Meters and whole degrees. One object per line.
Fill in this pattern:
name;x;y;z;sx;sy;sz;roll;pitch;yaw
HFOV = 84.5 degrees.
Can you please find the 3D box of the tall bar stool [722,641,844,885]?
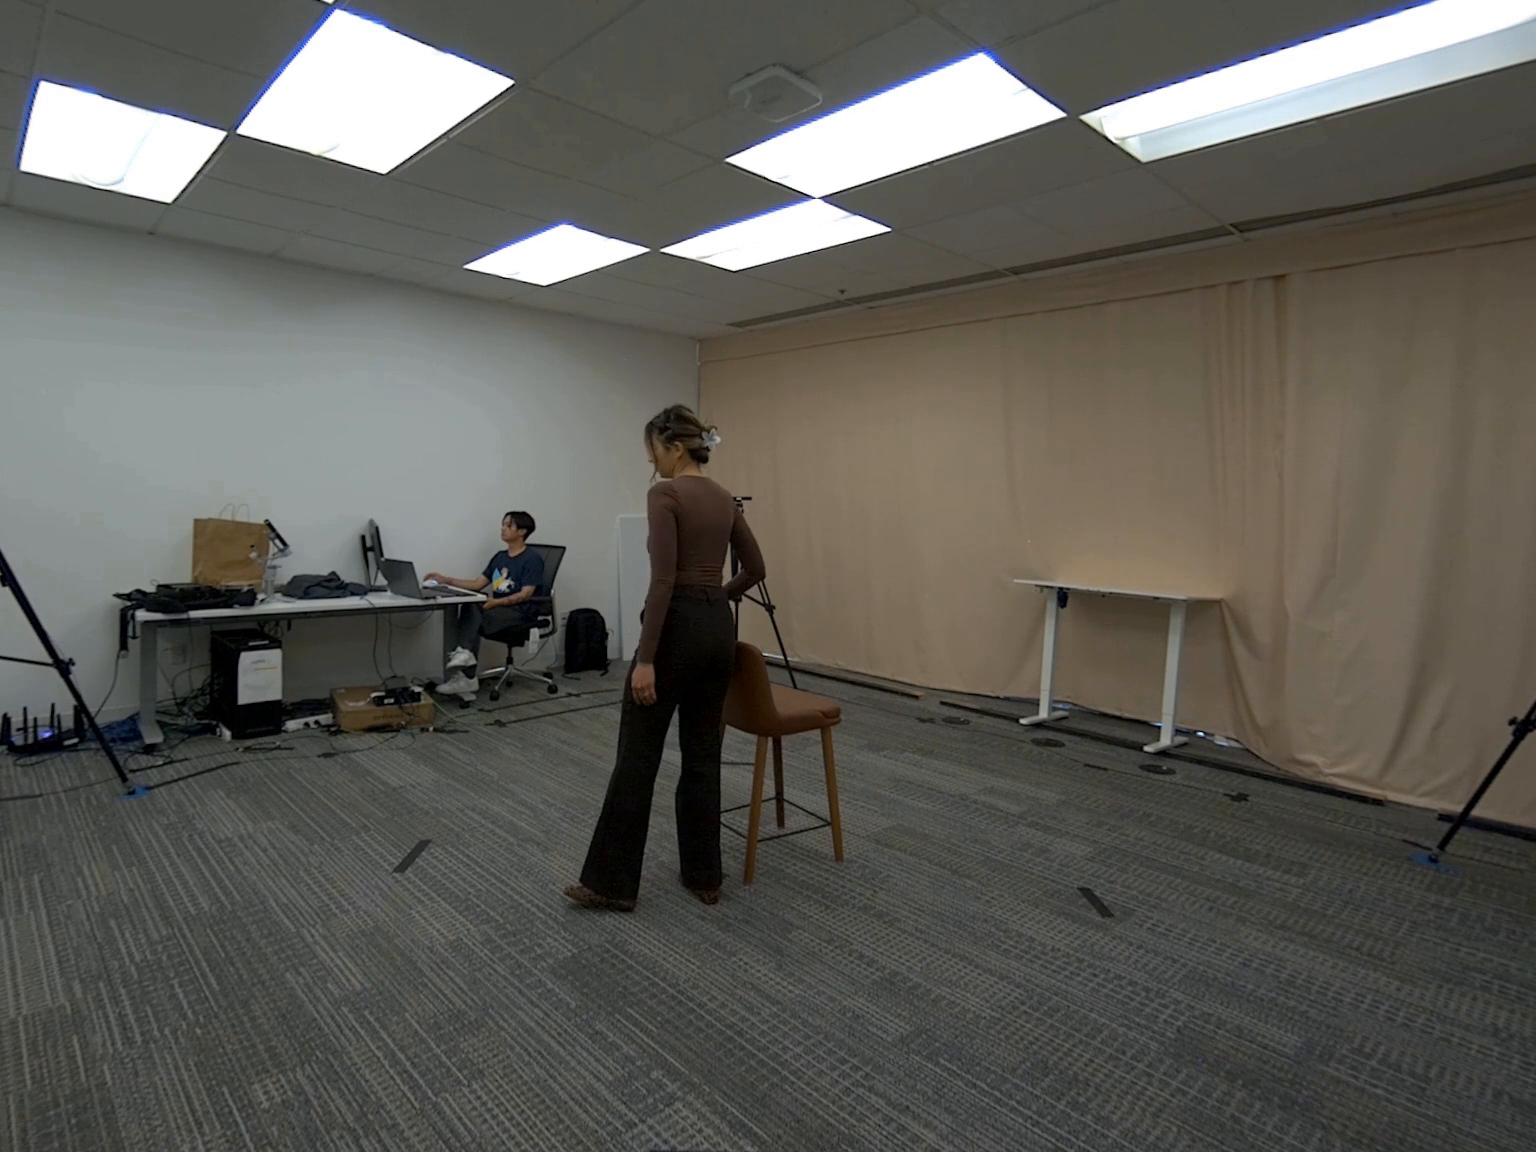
tall bar stool;-0.008;0.657;3.279;0.458;0.887;0.467;-3;5;-35
